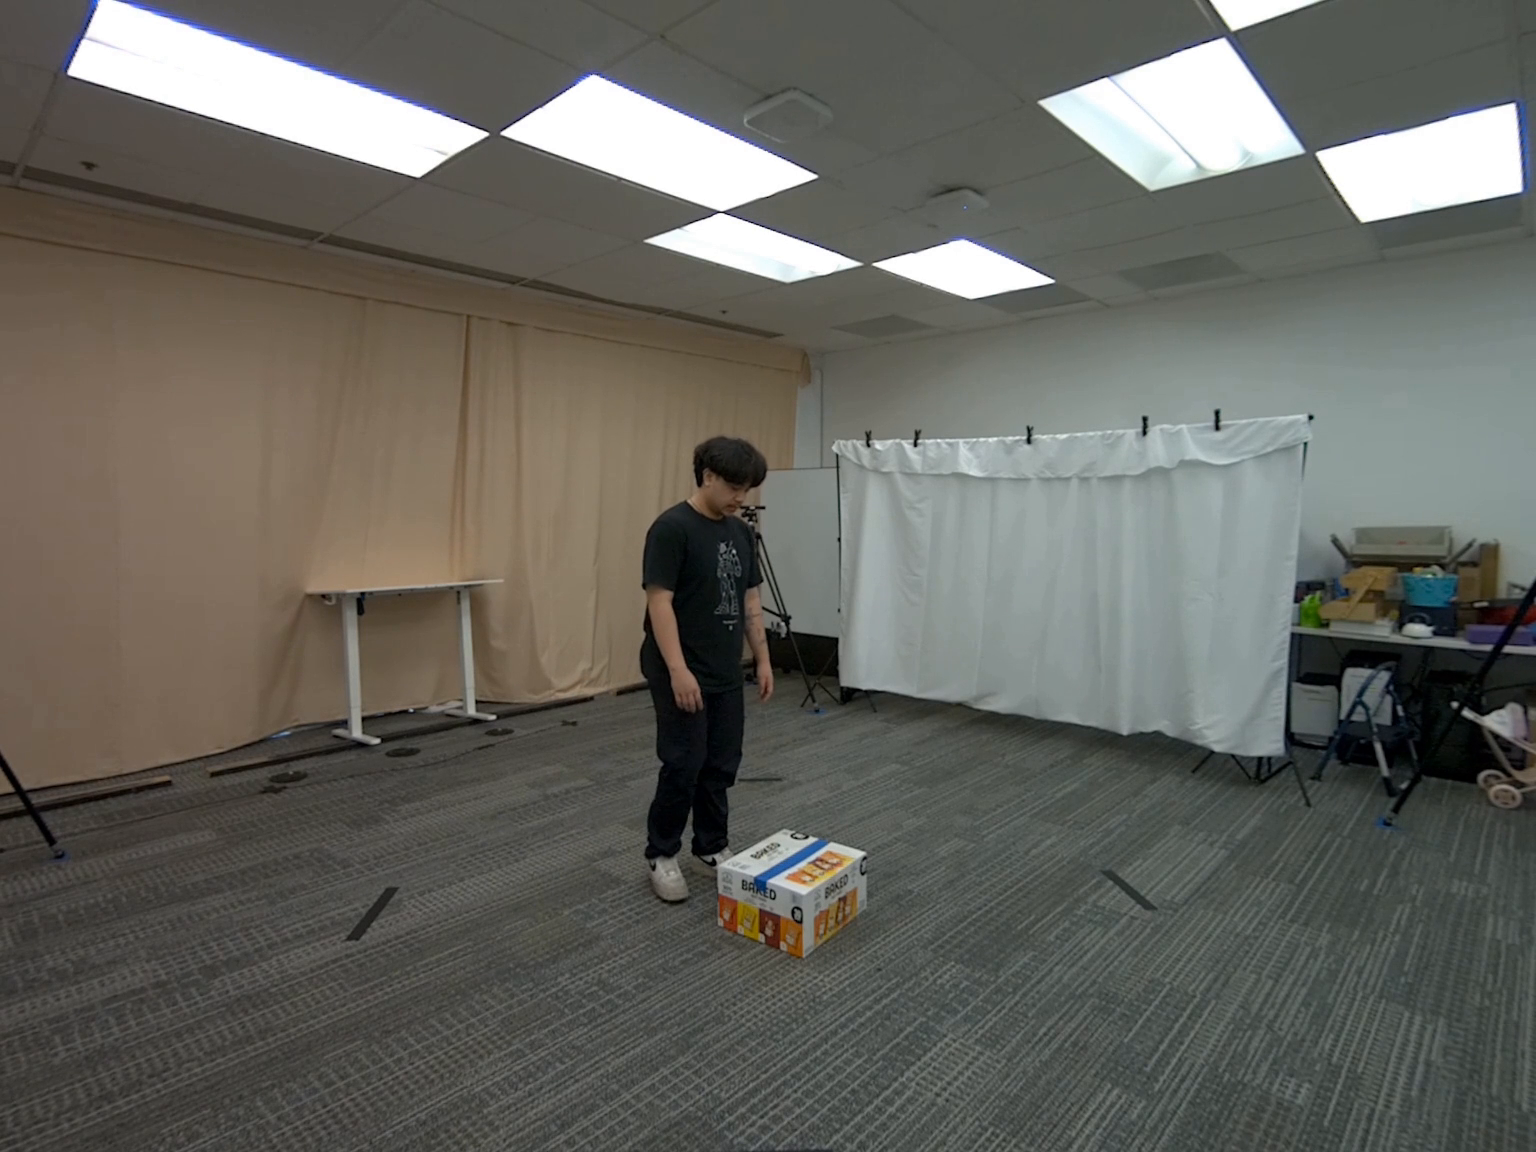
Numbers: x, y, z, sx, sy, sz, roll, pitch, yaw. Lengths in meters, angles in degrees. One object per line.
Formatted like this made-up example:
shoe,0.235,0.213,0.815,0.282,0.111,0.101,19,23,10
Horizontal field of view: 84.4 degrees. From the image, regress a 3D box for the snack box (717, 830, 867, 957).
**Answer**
snack box,0.091,1.055,2.839,0.351,0.205,0.393,3,6,36
